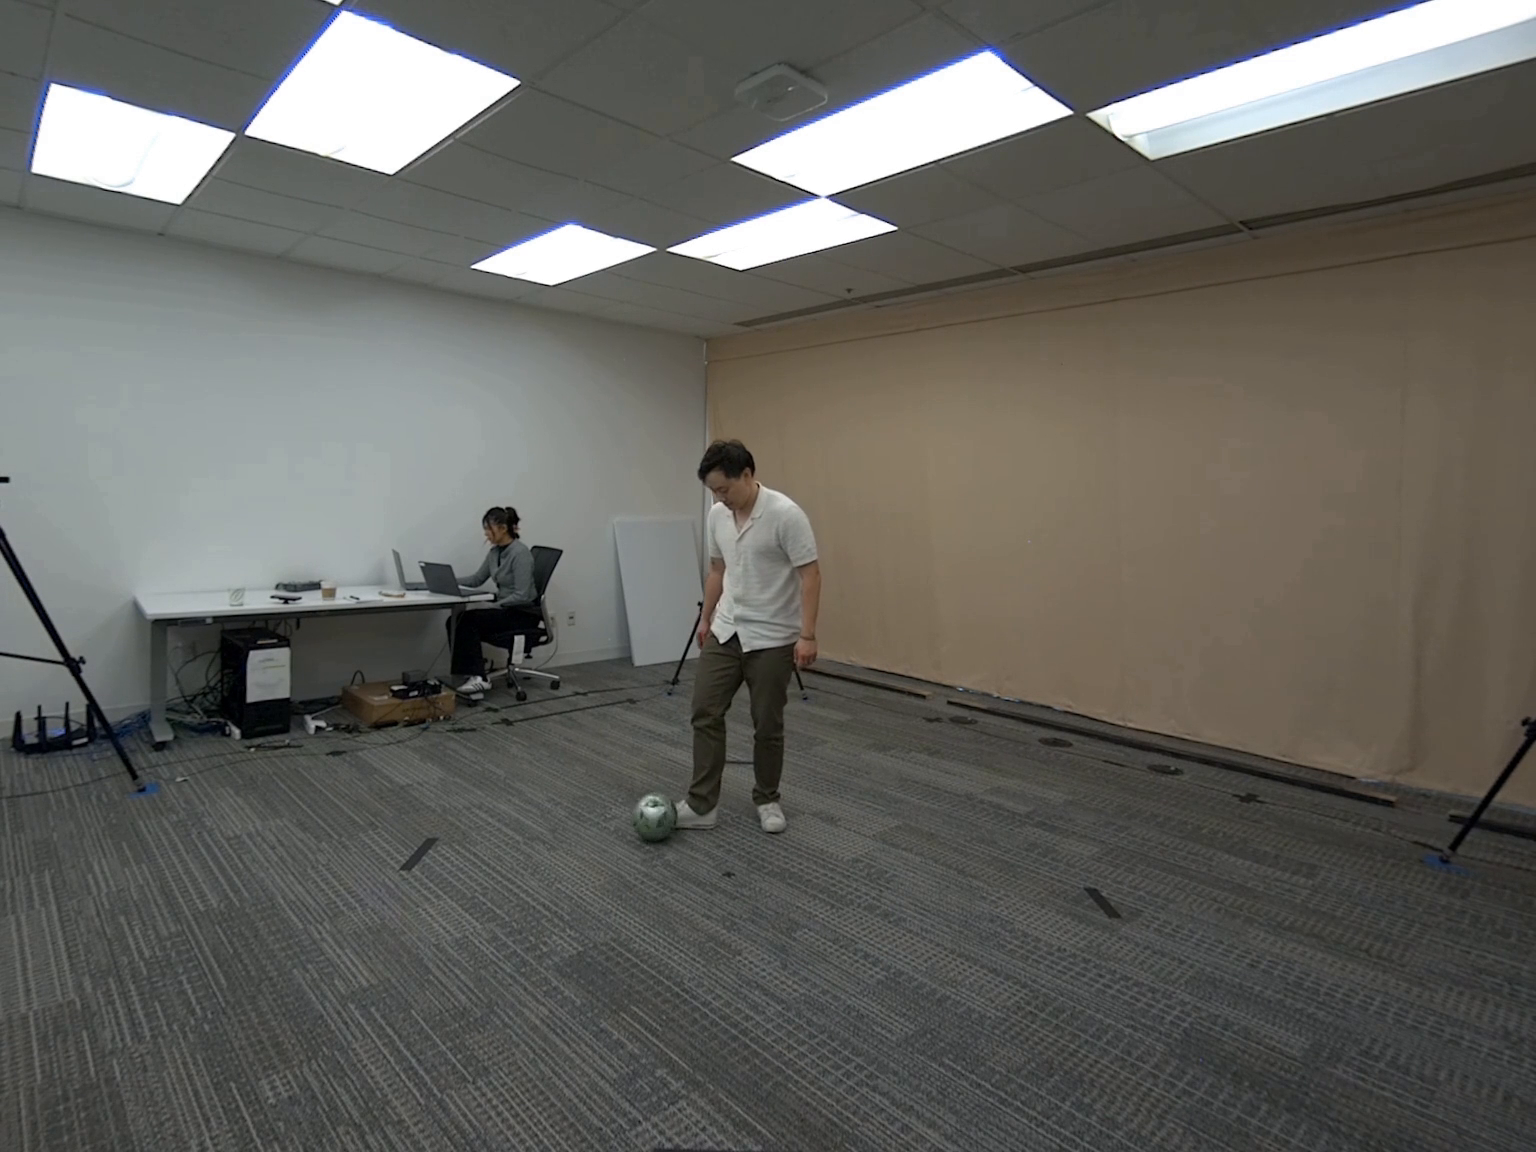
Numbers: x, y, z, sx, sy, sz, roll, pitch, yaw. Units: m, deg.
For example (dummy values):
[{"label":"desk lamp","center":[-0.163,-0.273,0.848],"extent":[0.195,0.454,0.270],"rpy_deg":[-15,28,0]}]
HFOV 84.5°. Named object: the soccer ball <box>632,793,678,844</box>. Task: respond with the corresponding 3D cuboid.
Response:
[{"label":"soccer ball","center":[-0.471,0.974,3.400],"extent":[0.187,0.187,0.188],"rpy_deg":[1,4,-1]}]
